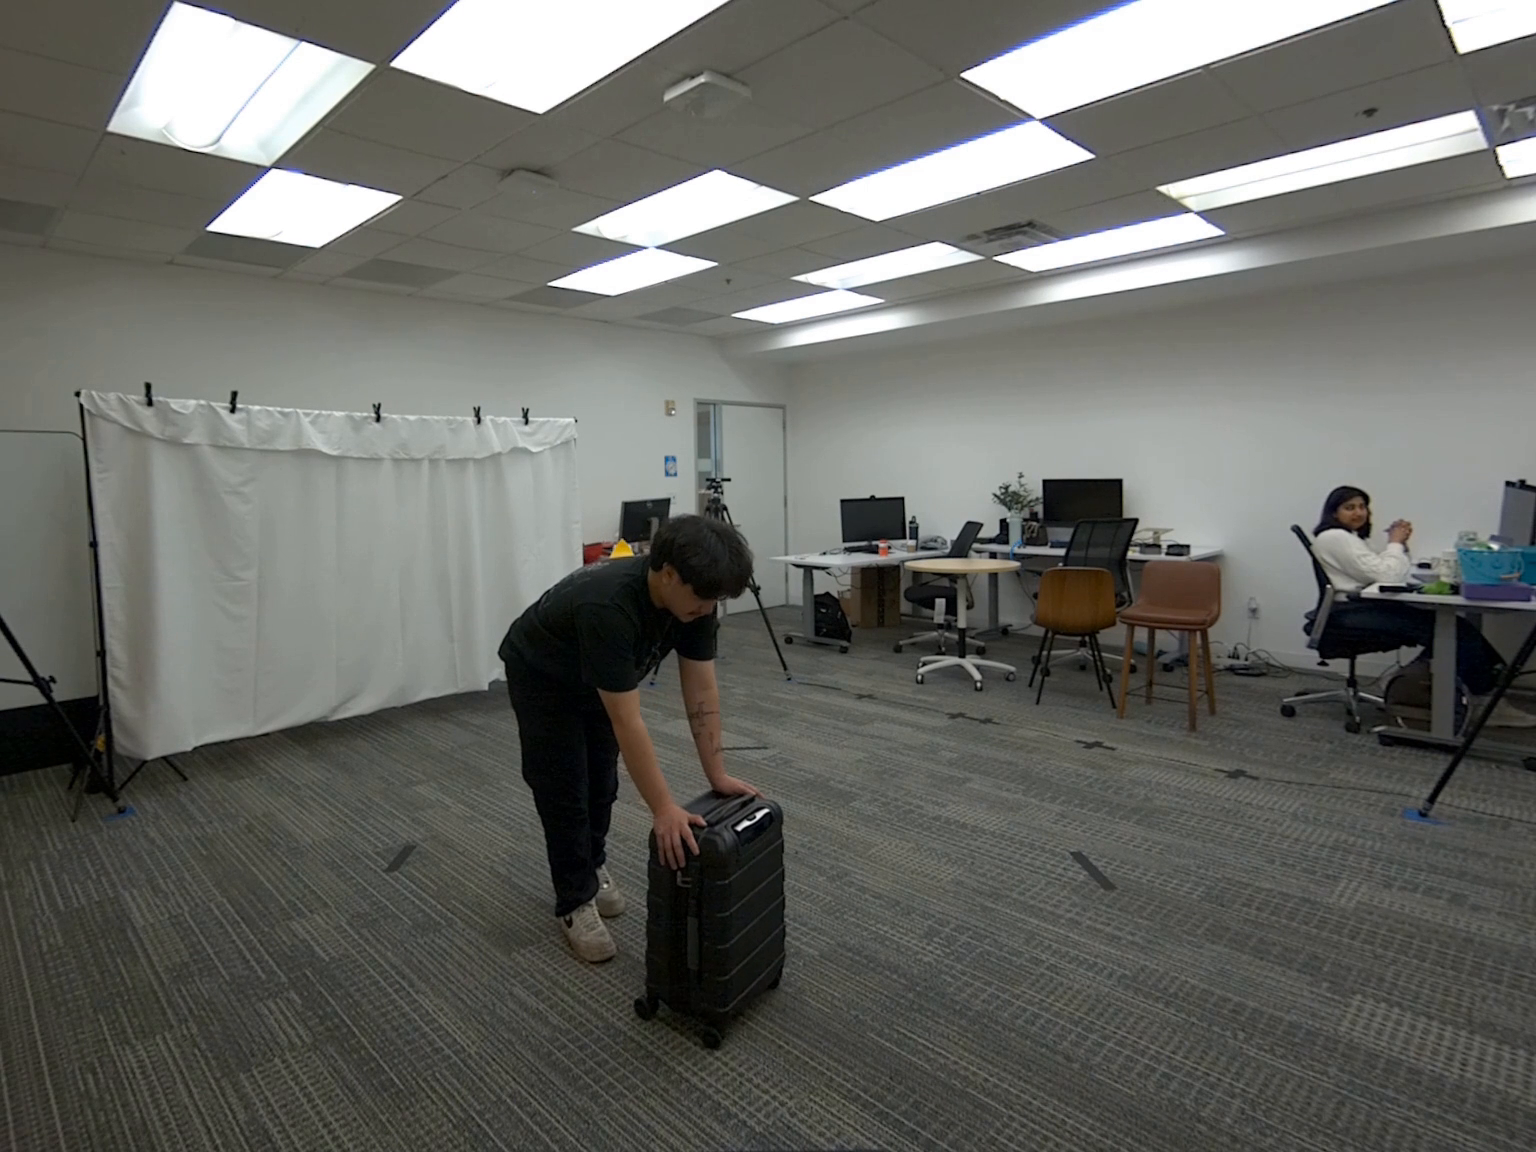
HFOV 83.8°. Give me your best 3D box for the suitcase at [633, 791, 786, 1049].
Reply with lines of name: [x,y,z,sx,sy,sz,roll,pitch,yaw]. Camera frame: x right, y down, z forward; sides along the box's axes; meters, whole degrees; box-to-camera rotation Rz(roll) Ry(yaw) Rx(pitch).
suitcase: [-0.133,0.868,2.264,0.255,0.547,0.367,4,6,31]
